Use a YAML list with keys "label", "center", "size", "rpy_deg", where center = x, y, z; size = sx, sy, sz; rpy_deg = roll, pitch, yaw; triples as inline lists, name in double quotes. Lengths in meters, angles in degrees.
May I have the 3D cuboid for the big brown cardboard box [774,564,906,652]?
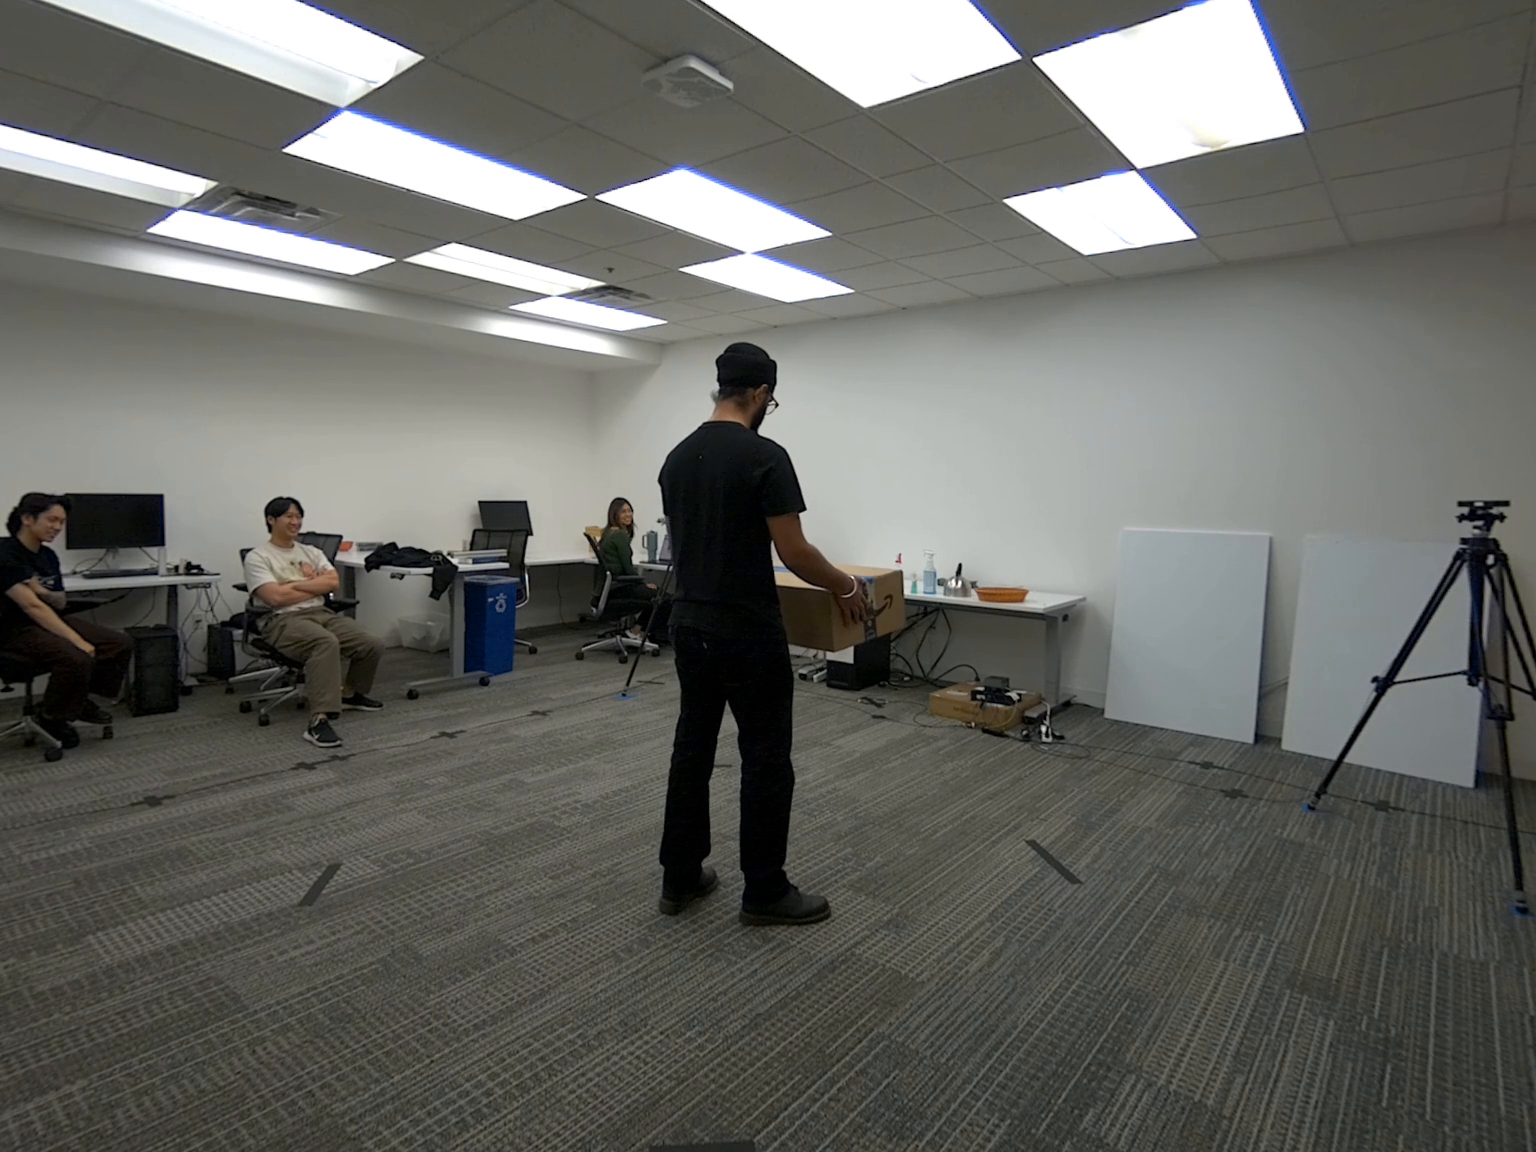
- label: "big brown cardboard box"
  center: [0.128, 0.090, 3.143]
  size: [0.610, 0.231, 0.407]
  rpy_deg: [8, 15, 42]
